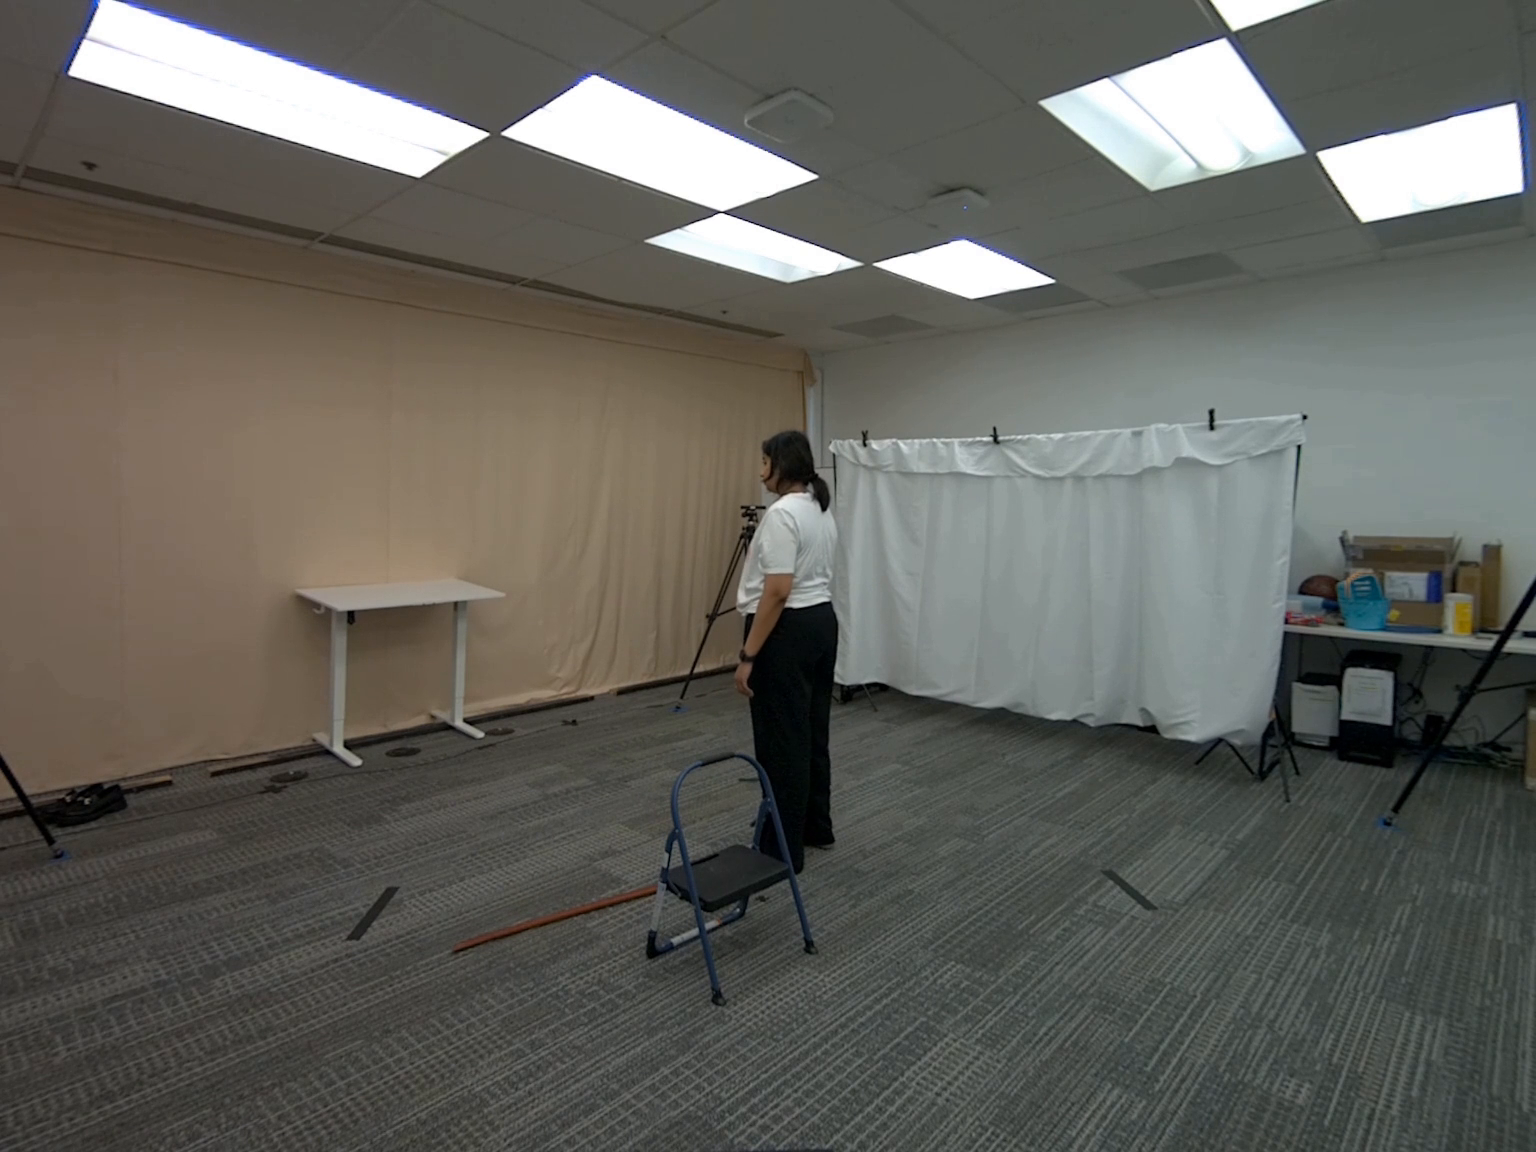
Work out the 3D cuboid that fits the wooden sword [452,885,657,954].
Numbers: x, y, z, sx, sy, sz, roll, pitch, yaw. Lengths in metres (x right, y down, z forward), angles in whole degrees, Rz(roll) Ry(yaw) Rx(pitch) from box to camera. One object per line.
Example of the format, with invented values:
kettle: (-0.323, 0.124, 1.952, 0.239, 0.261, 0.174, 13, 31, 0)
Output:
wooden sword: (-0.562, 1.123, 2.912, 0.996, 0.051, 0.025, -4, 21, -33)
